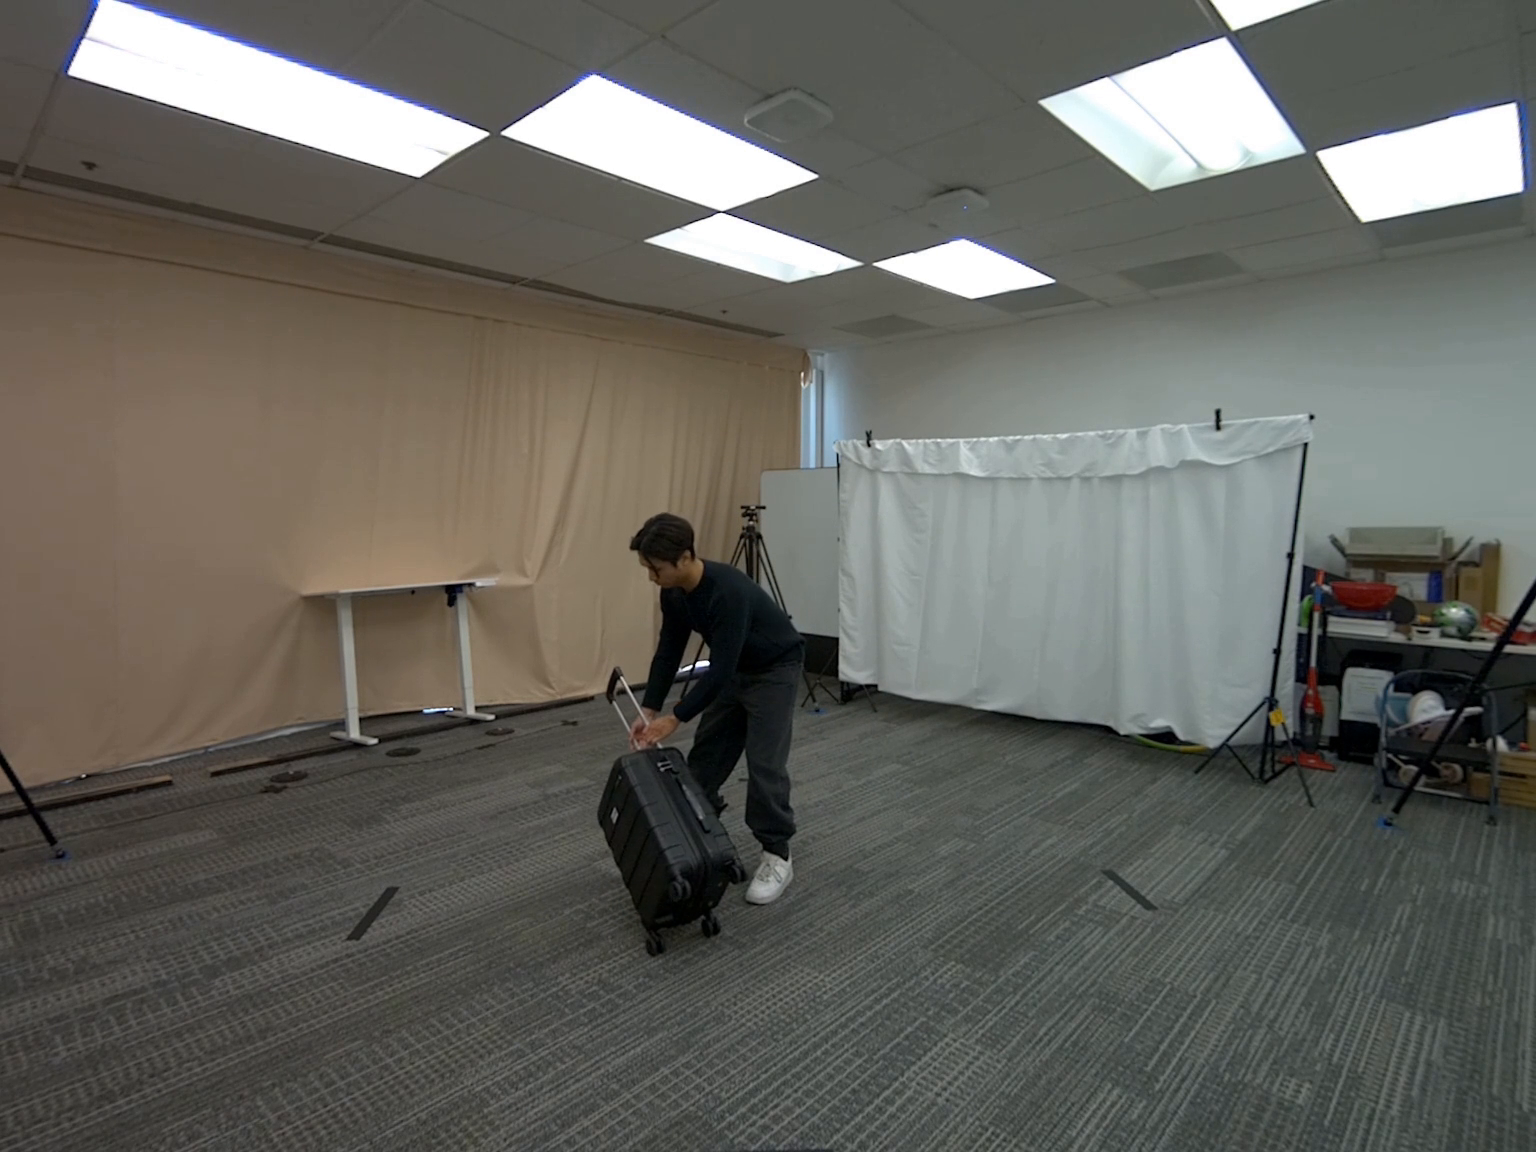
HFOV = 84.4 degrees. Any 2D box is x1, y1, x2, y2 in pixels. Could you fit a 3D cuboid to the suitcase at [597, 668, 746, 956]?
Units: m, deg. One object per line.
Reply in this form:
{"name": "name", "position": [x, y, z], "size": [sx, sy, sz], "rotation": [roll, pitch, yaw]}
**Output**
{"name": "suitcase", "position": [-0.440, 0.731, 2.878], "size": [0.250, 0.382, 1.012], "rotation": [-4, 41, -35]}
